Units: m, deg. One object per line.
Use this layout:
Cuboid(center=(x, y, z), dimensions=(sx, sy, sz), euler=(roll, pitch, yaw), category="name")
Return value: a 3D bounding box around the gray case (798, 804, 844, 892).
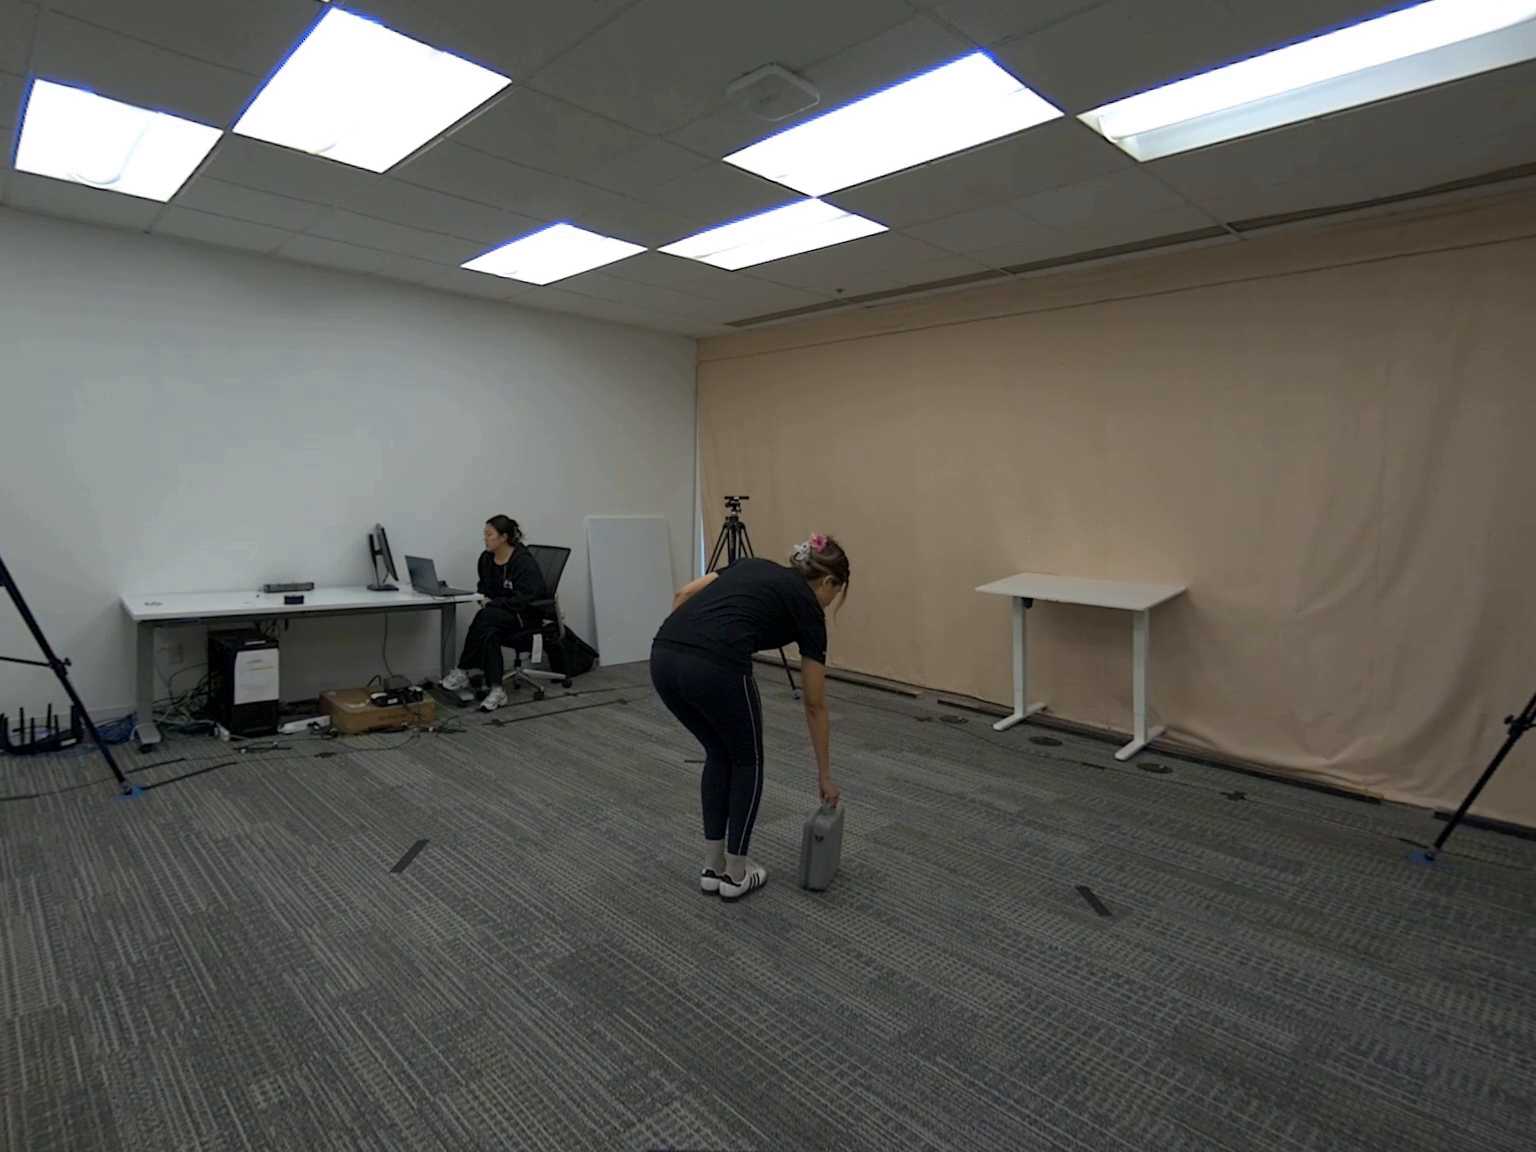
Cuboid(center=(0.192, 0.976, 3.086), dimensions=(0.106, 0.260, 0.253), euler=(6, 5, 19), category="gray case")
